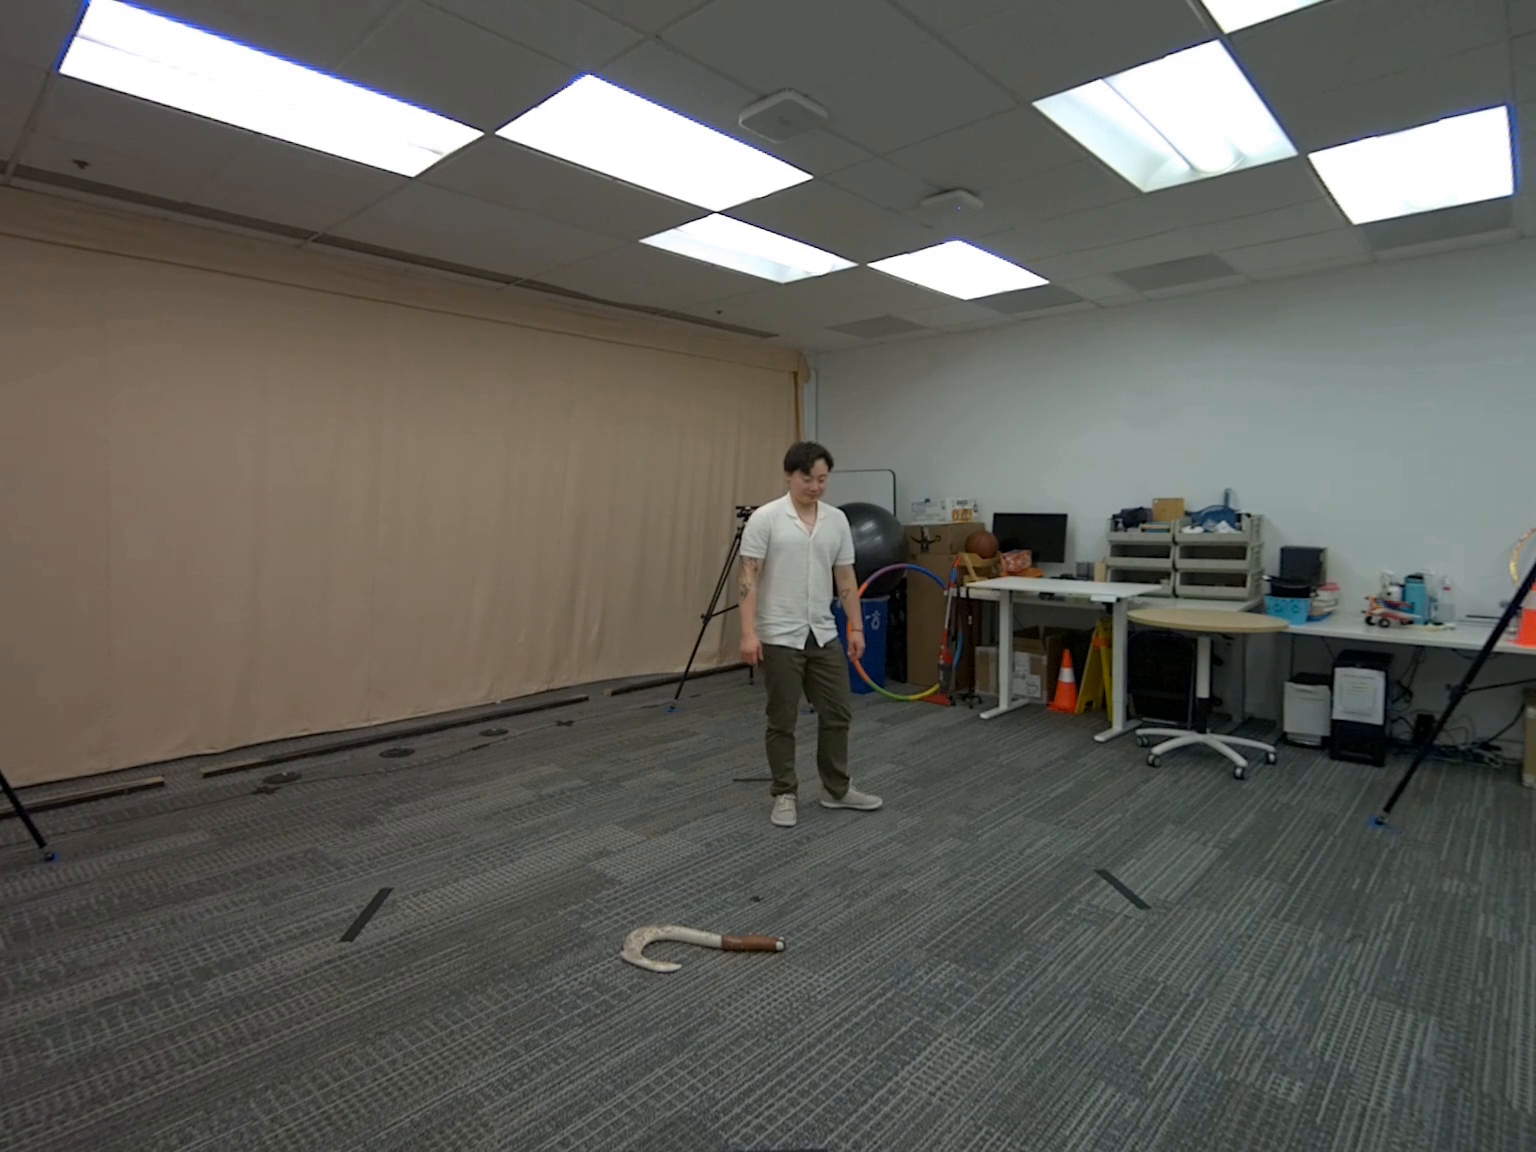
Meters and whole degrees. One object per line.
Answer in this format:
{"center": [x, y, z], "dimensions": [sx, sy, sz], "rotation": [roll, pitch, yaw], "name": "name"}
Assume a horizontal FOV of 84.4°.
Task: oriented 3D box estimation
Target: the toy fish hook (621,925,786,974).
{"center": [-0.192, 1.158, 2.607], "dimensions": [0.510, 0.048, 0.225], "rotation": [-1, 12, 6], "name": "toy fish hook"}
